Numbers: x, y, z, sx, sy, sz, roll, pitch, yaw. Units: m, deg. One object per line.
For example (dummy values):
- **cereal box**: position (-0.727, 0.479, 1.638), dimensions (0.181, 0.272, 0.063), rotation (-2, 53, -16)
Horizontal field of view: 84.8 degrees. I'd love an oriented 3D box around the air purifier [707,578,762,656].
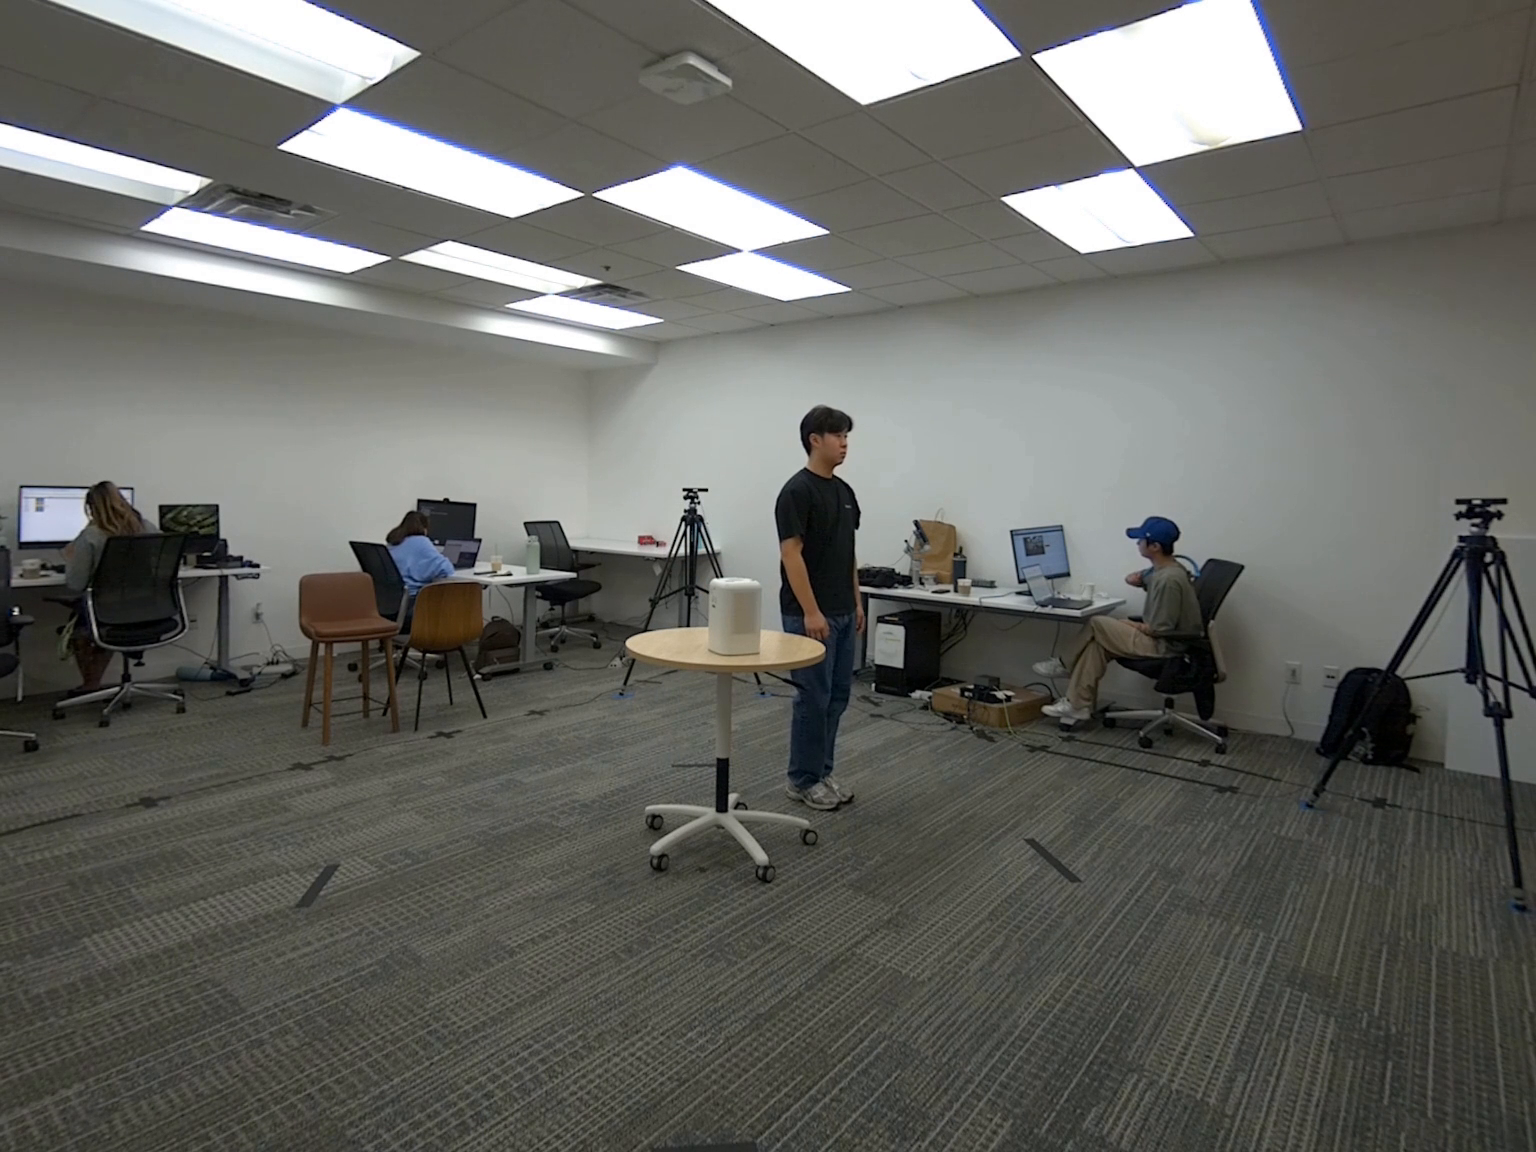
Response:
- **air purifier**: position (-0.133, 0.142, 3.132), dimensions (0.167, 0.264, 0.176), rotation (1, 4, -24)
